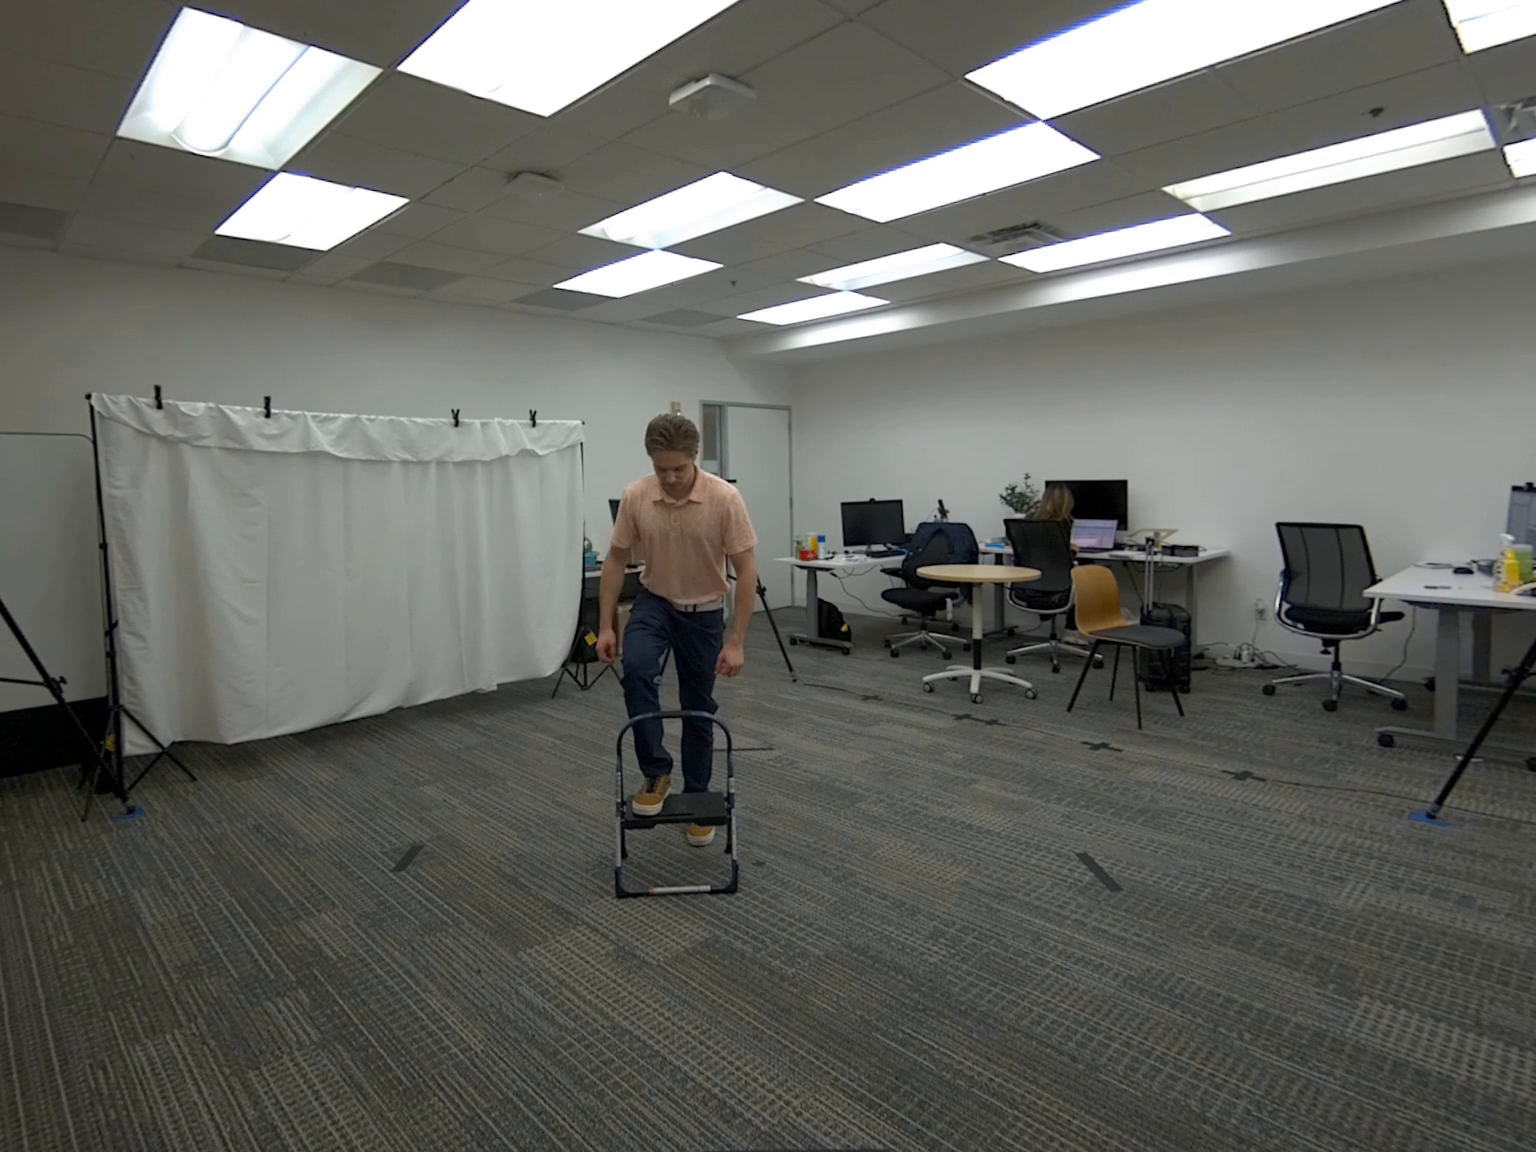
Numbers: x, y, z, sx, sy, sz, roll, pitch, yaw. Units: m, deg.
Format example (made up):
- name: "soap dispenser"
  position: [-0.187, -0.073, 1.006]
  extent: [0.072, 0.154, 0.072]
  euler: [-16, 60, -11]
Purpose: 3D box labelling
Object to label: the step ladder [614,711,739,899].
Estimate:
- name: "step ladder"
  position: [-0.328, 0.763, 3.027]
  extent: [0.428, 0.604, 0.352]
  euler: [-1, 4, -6]
